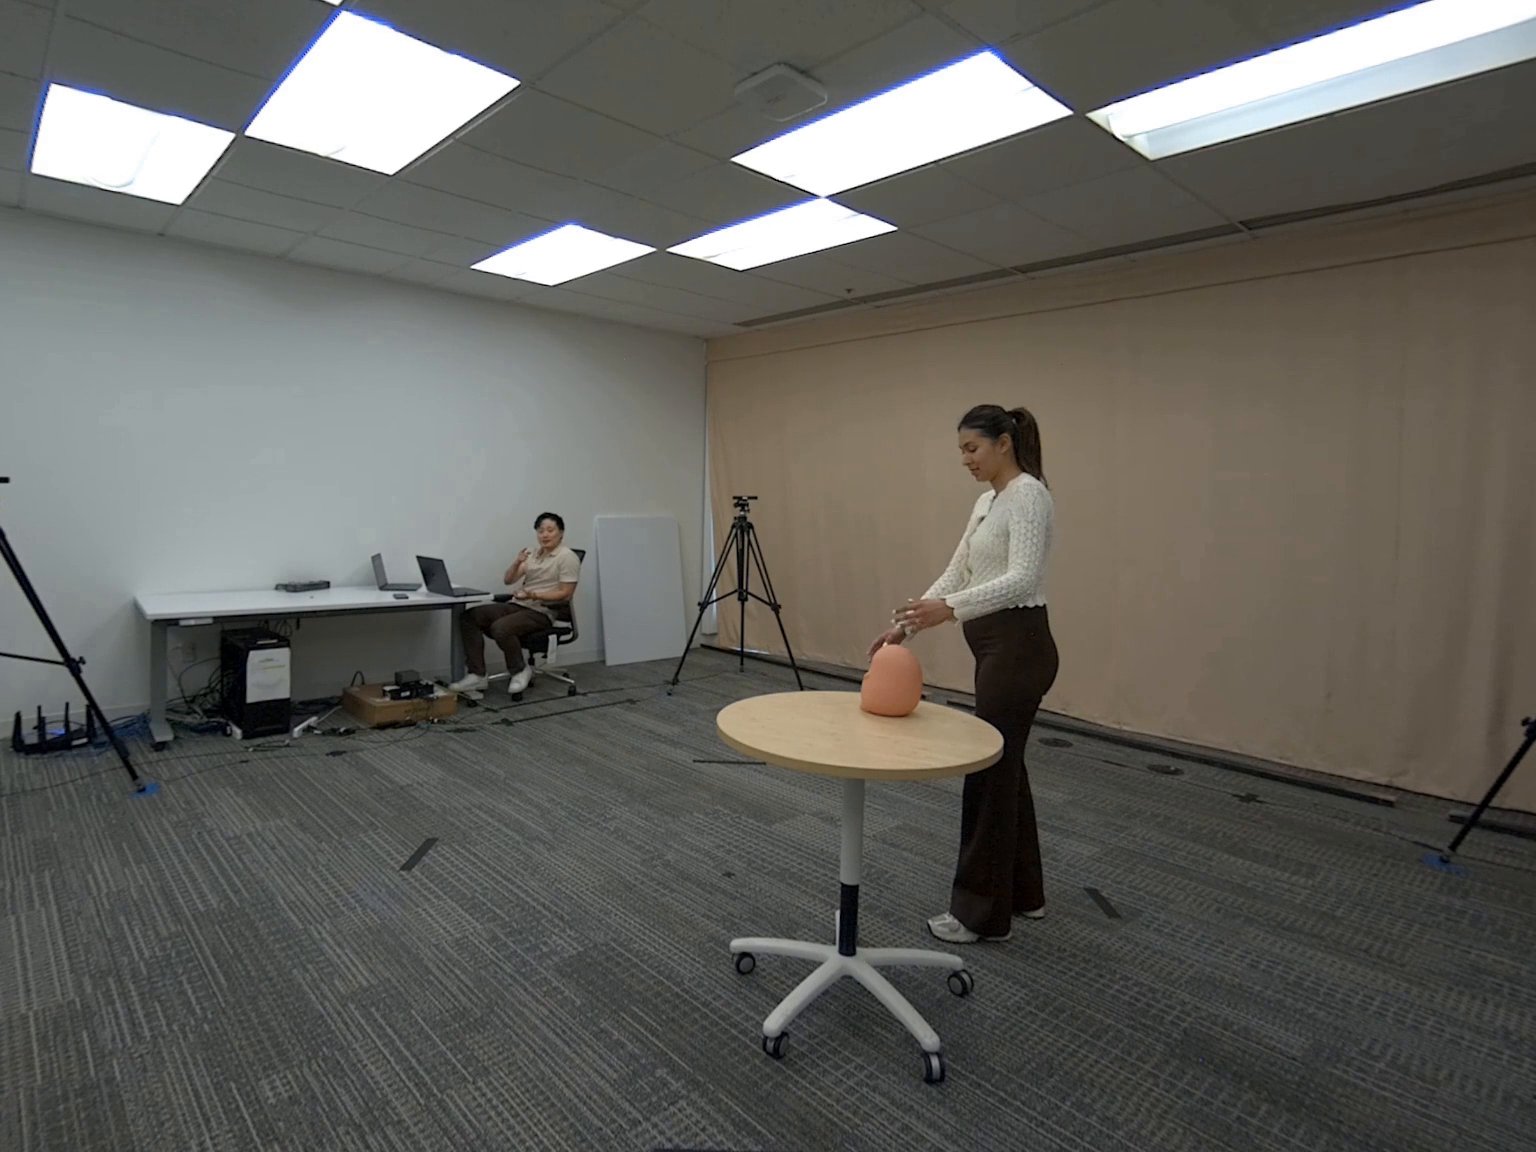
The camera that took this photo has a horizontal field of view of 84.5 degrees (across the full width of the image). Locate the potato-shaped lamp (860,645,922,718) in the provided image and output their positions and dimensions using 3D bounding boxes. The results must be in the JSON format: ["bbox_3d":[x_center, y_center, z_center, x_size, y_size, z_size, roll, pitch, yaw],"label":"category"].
[{"bbox_3d":[0.349,0.299,2.419,0.176,0.198,0.161,7,3,42],"label":"potato-shaped lamp"}]
